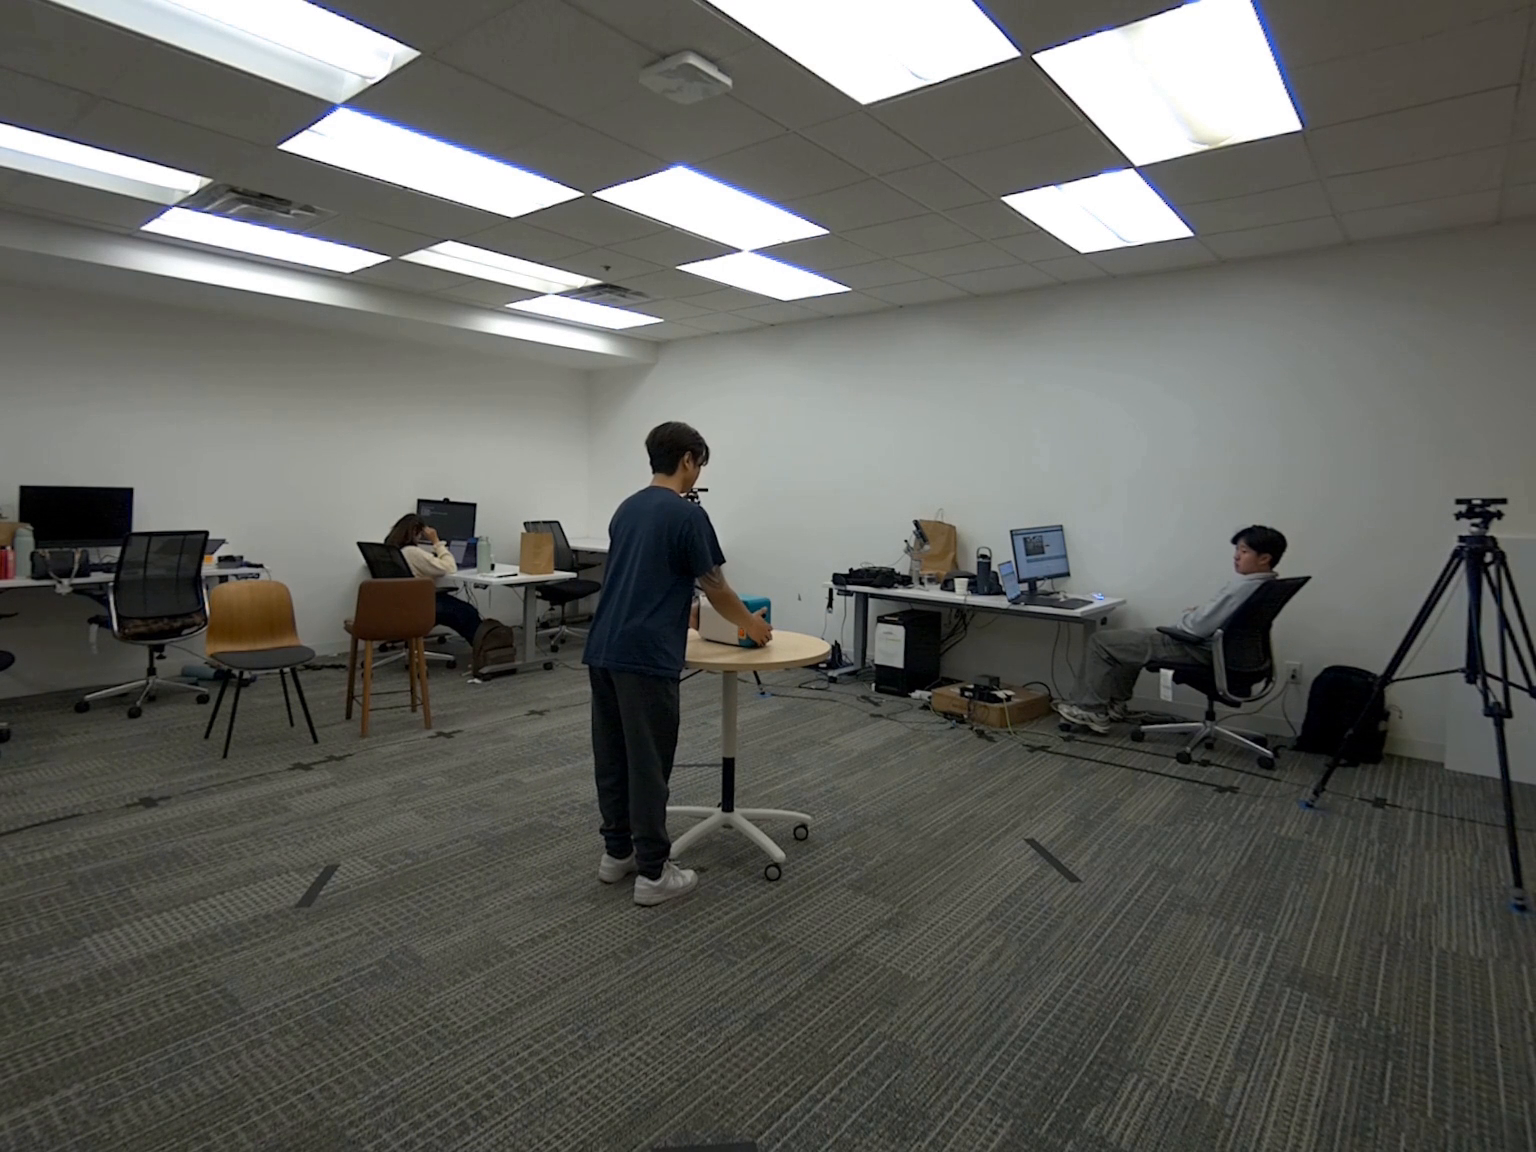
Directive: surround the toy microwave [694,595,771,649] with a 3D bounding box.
[{"bbox_3d":[-0.146,0.169,3.306,0.147,0.184,0.296,0,4,-43],"label":"toy microwave"}]
